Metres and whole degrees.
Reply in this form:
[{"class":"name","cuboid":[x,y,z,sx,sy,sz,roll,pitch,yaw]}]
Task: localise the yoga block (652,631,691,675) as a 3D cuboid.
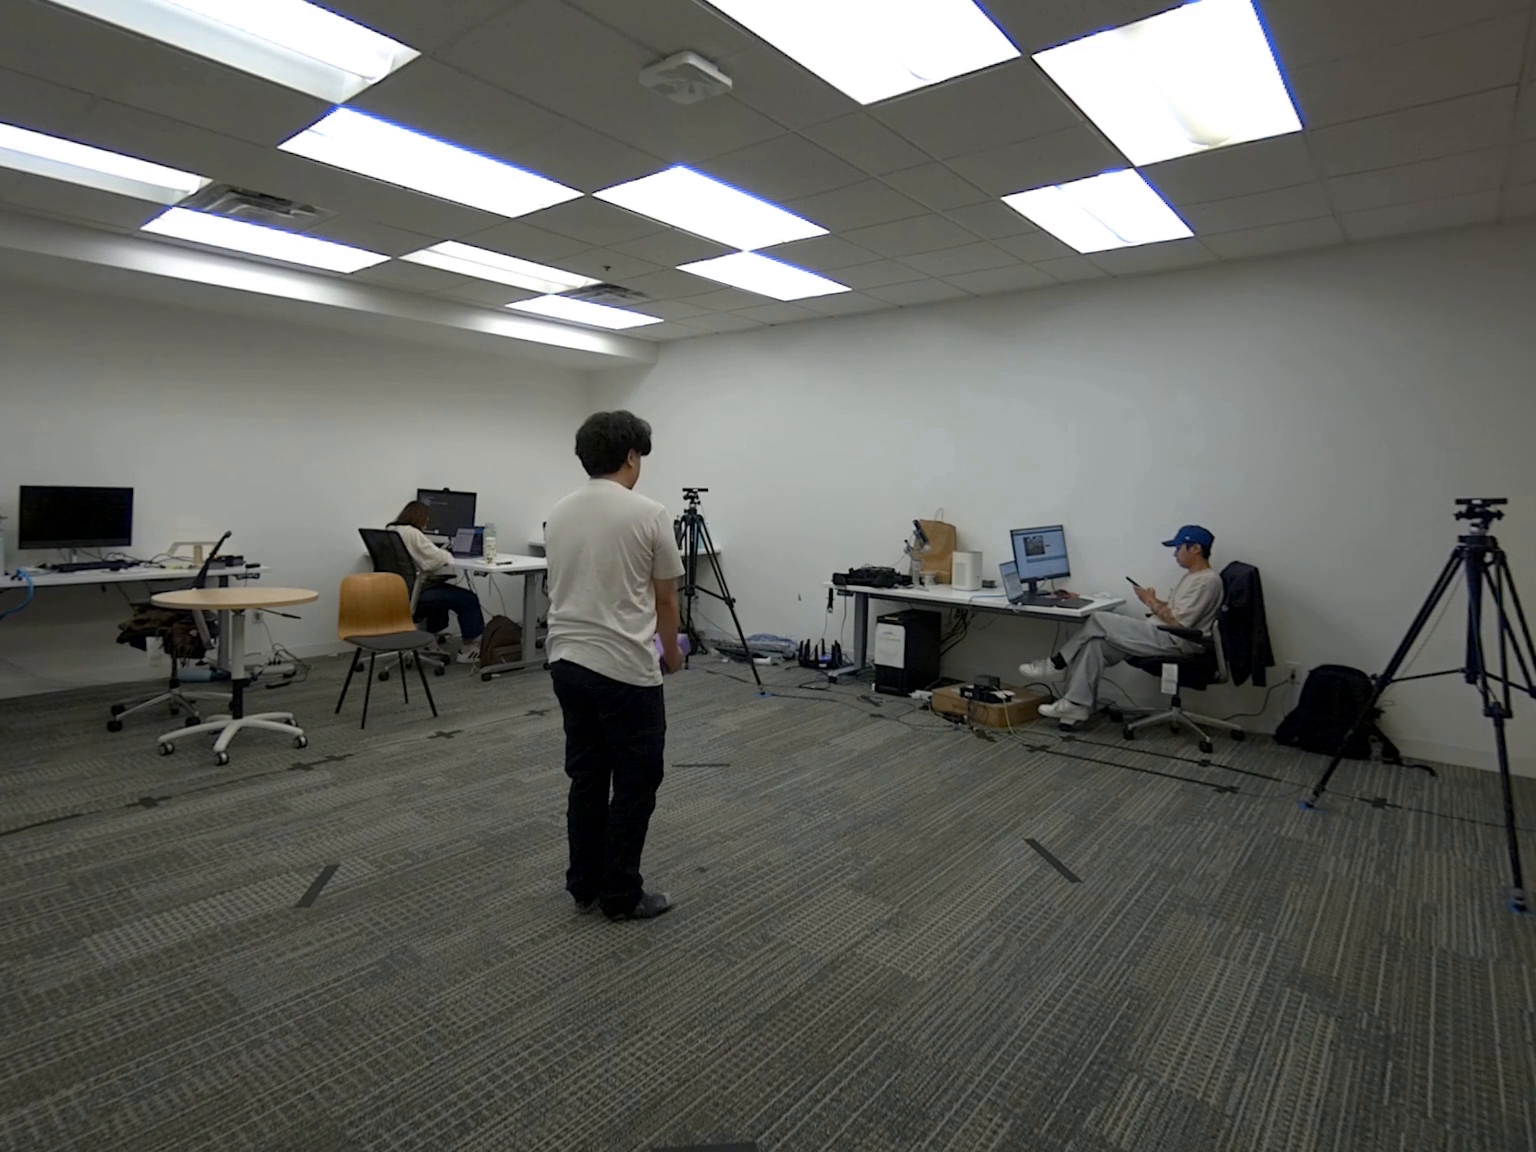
[{"class":"yoga block","cuboid":[-0.408,0.280,3.100,0.152,0.075,0.228,-4,15,22]}]
